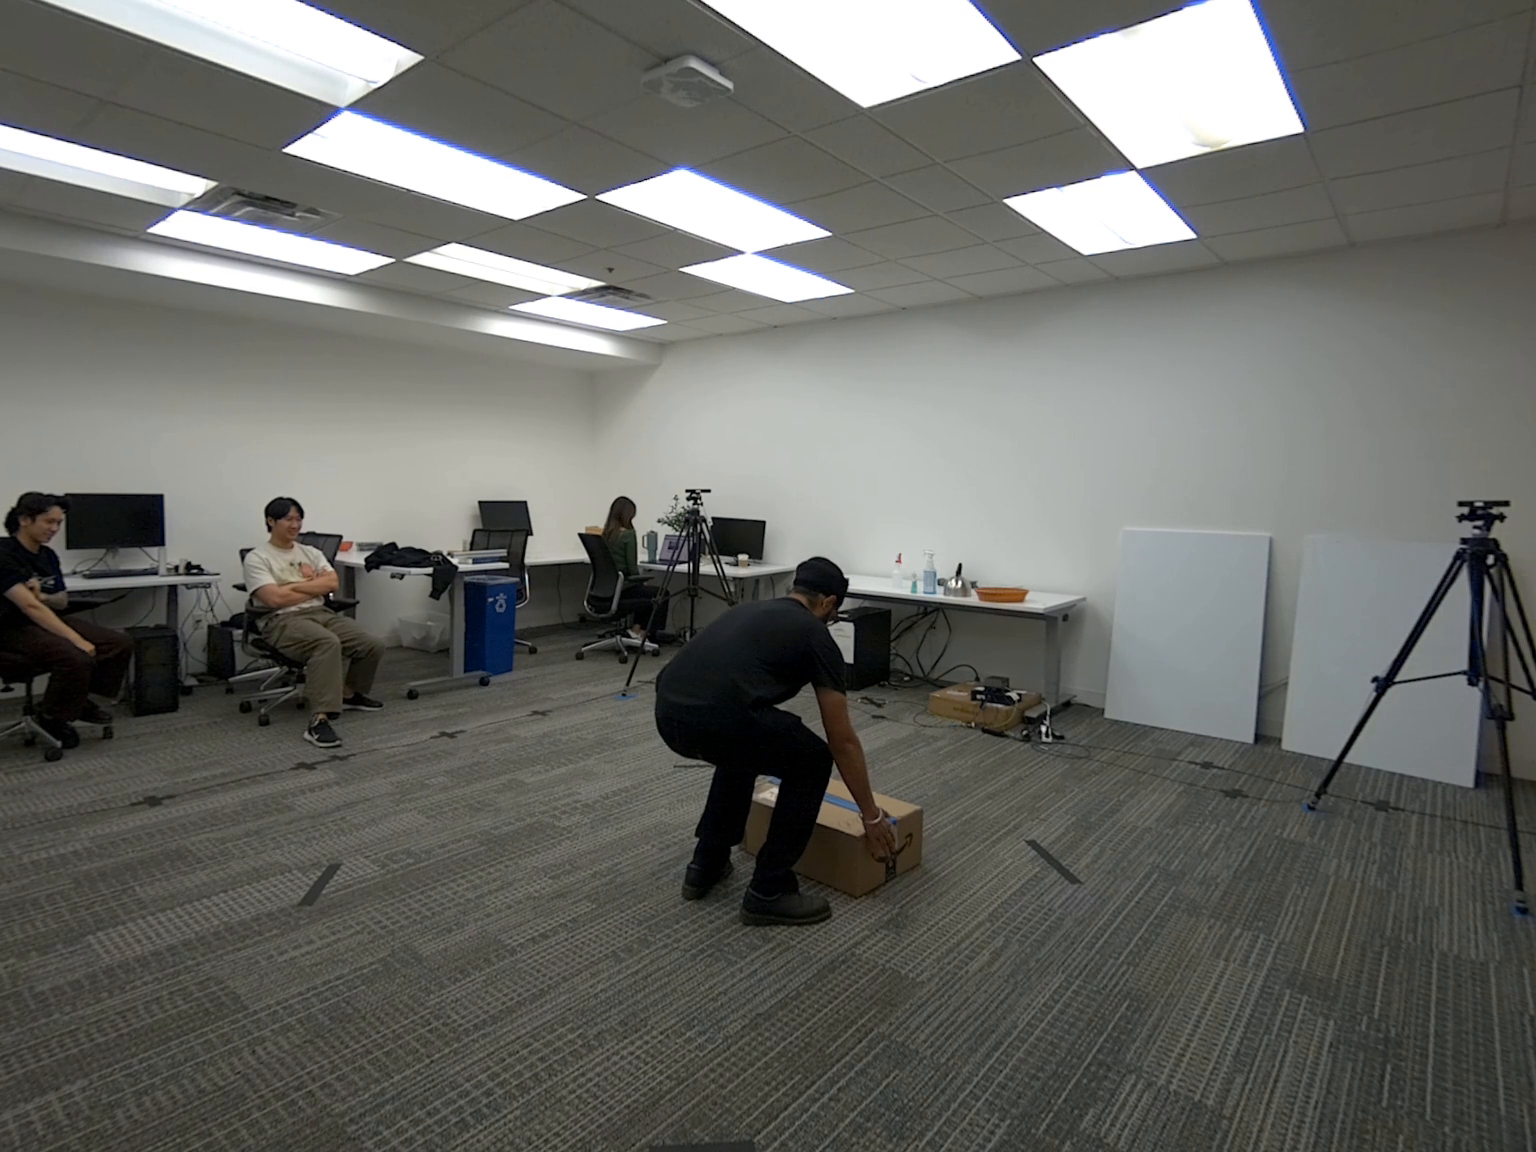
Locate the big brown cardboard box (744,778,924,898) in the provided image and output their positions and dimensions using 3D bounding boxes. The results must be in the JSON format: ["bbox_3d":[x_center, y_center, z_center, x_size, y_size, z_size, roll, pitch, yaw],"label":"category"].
[{"bbox_3d":[0.224,0.958,3.247,0.610,0.232,0.405,7,8,41],"label":"big brown cardboard box"}]
